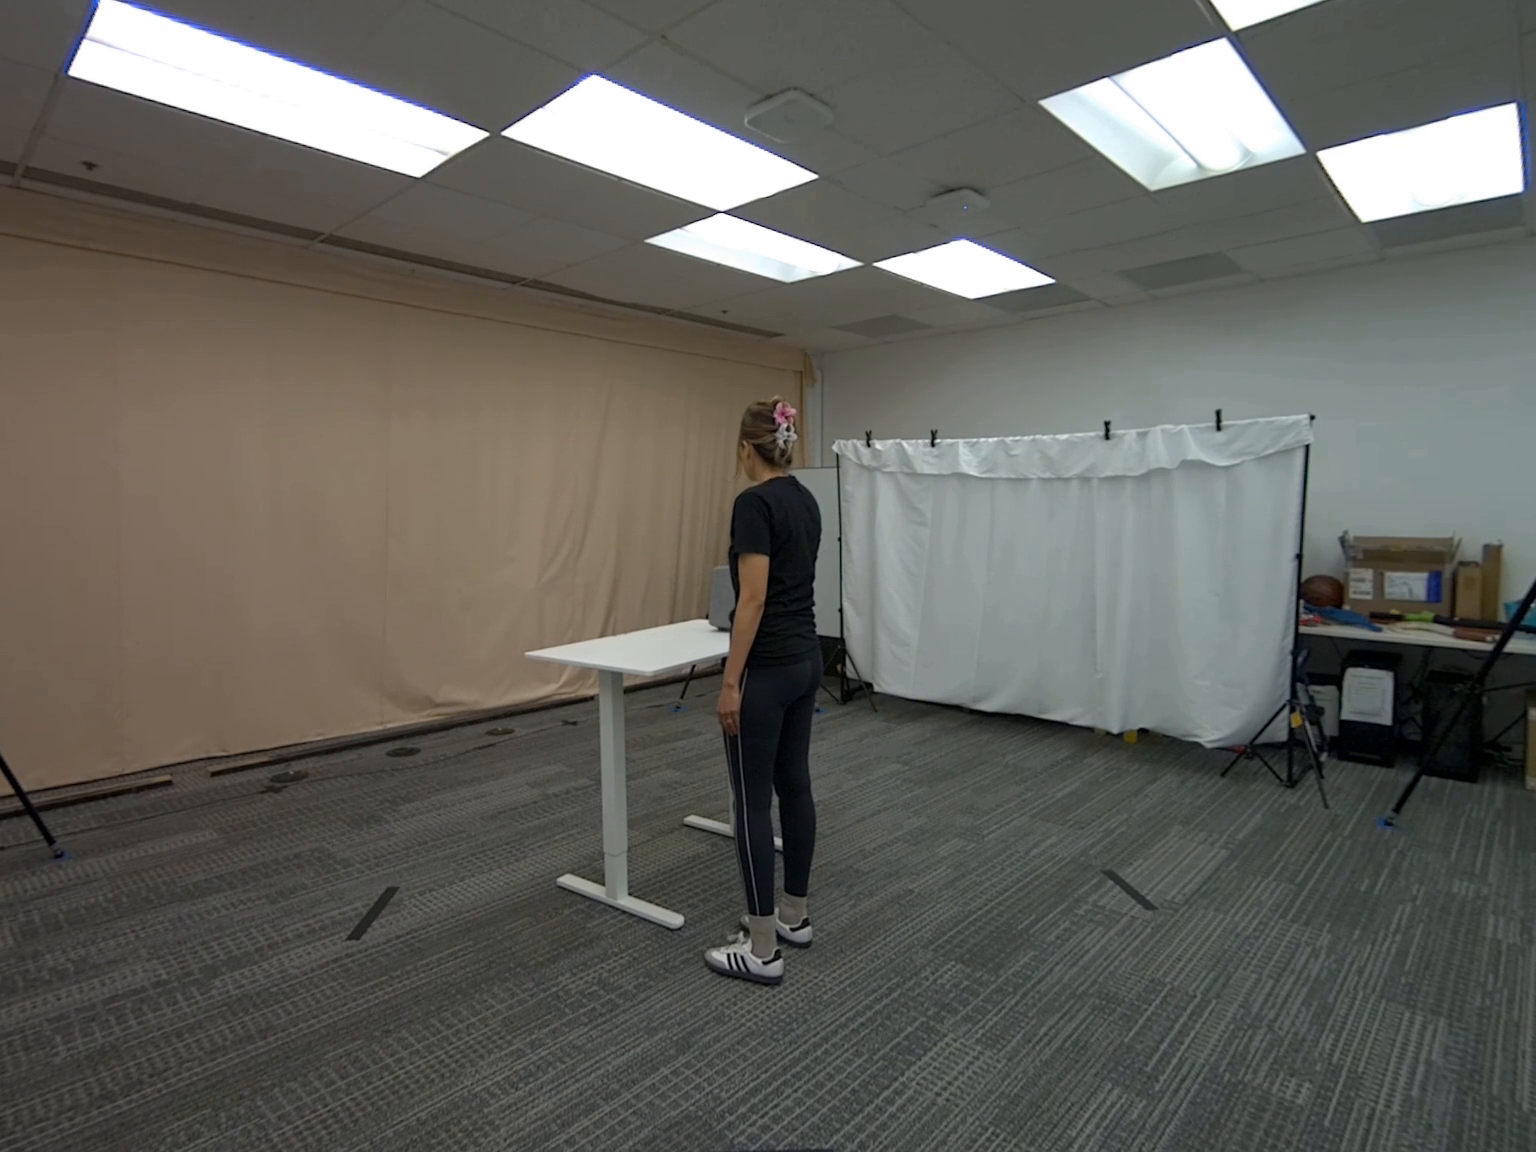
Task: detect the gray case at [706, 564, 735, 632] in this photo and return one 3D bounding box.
[{"bbox_3d":[-0.099,0.088,3.387,0.263,0.261,0.101,2,-2,24],"label":"gray case"}]
